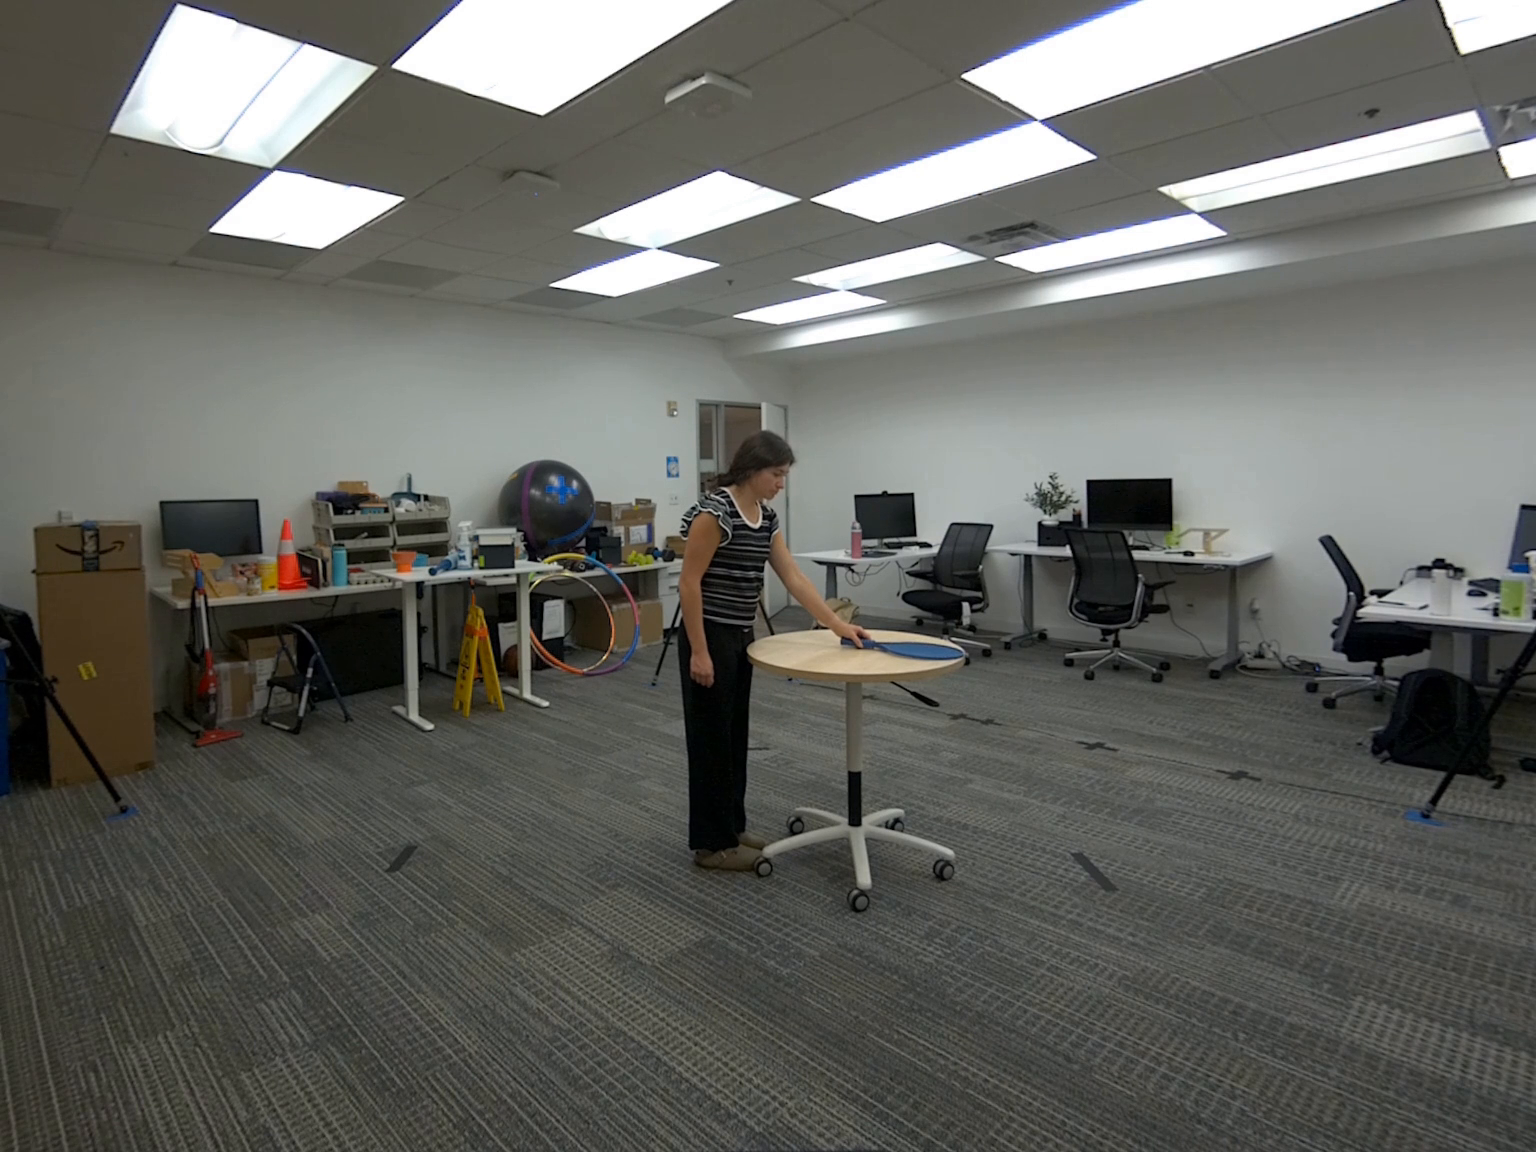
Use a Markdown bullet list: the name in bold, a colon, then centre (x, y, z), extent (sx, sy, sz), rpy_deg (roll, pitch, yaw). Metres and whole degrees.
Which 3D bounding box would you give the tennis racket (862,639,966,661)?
- **tennis racket**: centre (0.466, 0.253, 3.002), extent (0.442, 0.031, 0.210), rpy_deg (3, 7, 23)
